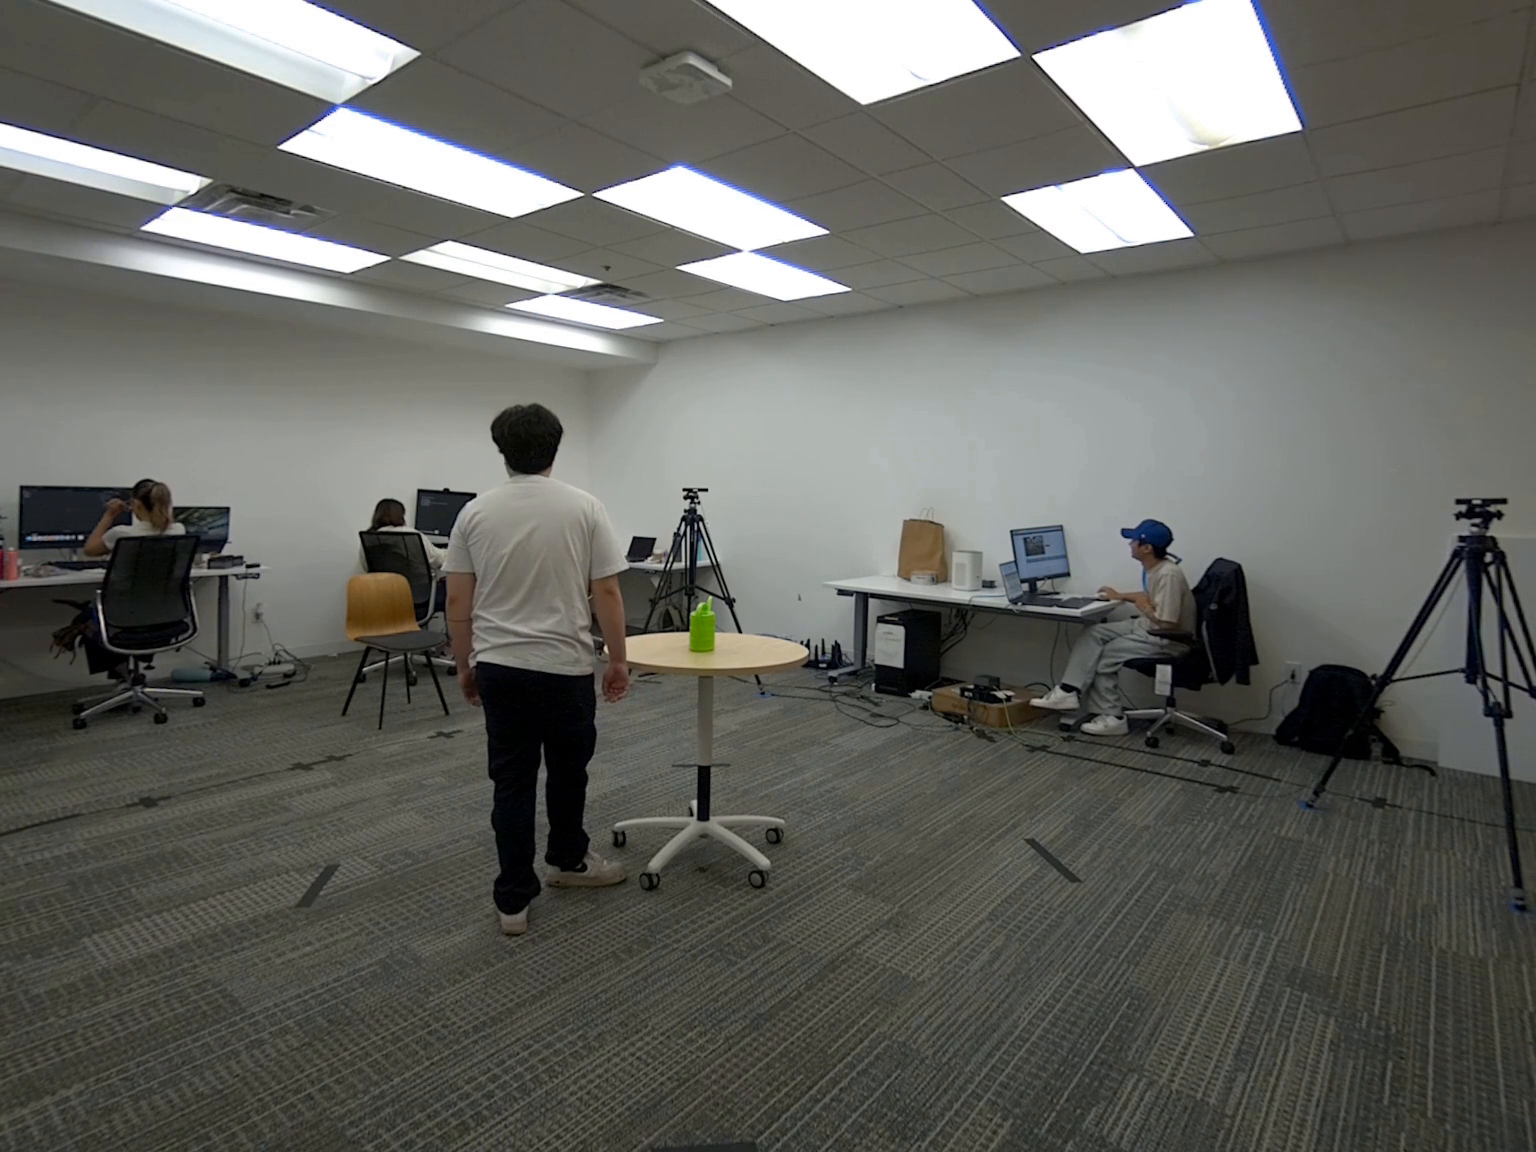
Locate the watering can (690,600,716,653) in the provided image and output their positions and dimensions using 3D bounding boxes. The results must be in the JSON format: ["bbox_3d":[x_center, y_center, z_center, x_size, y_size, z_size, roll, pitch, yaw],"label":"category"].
[{"bbox_3d":[-0.236,0.182,3.207,0.100,0.176,0.273,2,6,23],"label":"watering can"}]
